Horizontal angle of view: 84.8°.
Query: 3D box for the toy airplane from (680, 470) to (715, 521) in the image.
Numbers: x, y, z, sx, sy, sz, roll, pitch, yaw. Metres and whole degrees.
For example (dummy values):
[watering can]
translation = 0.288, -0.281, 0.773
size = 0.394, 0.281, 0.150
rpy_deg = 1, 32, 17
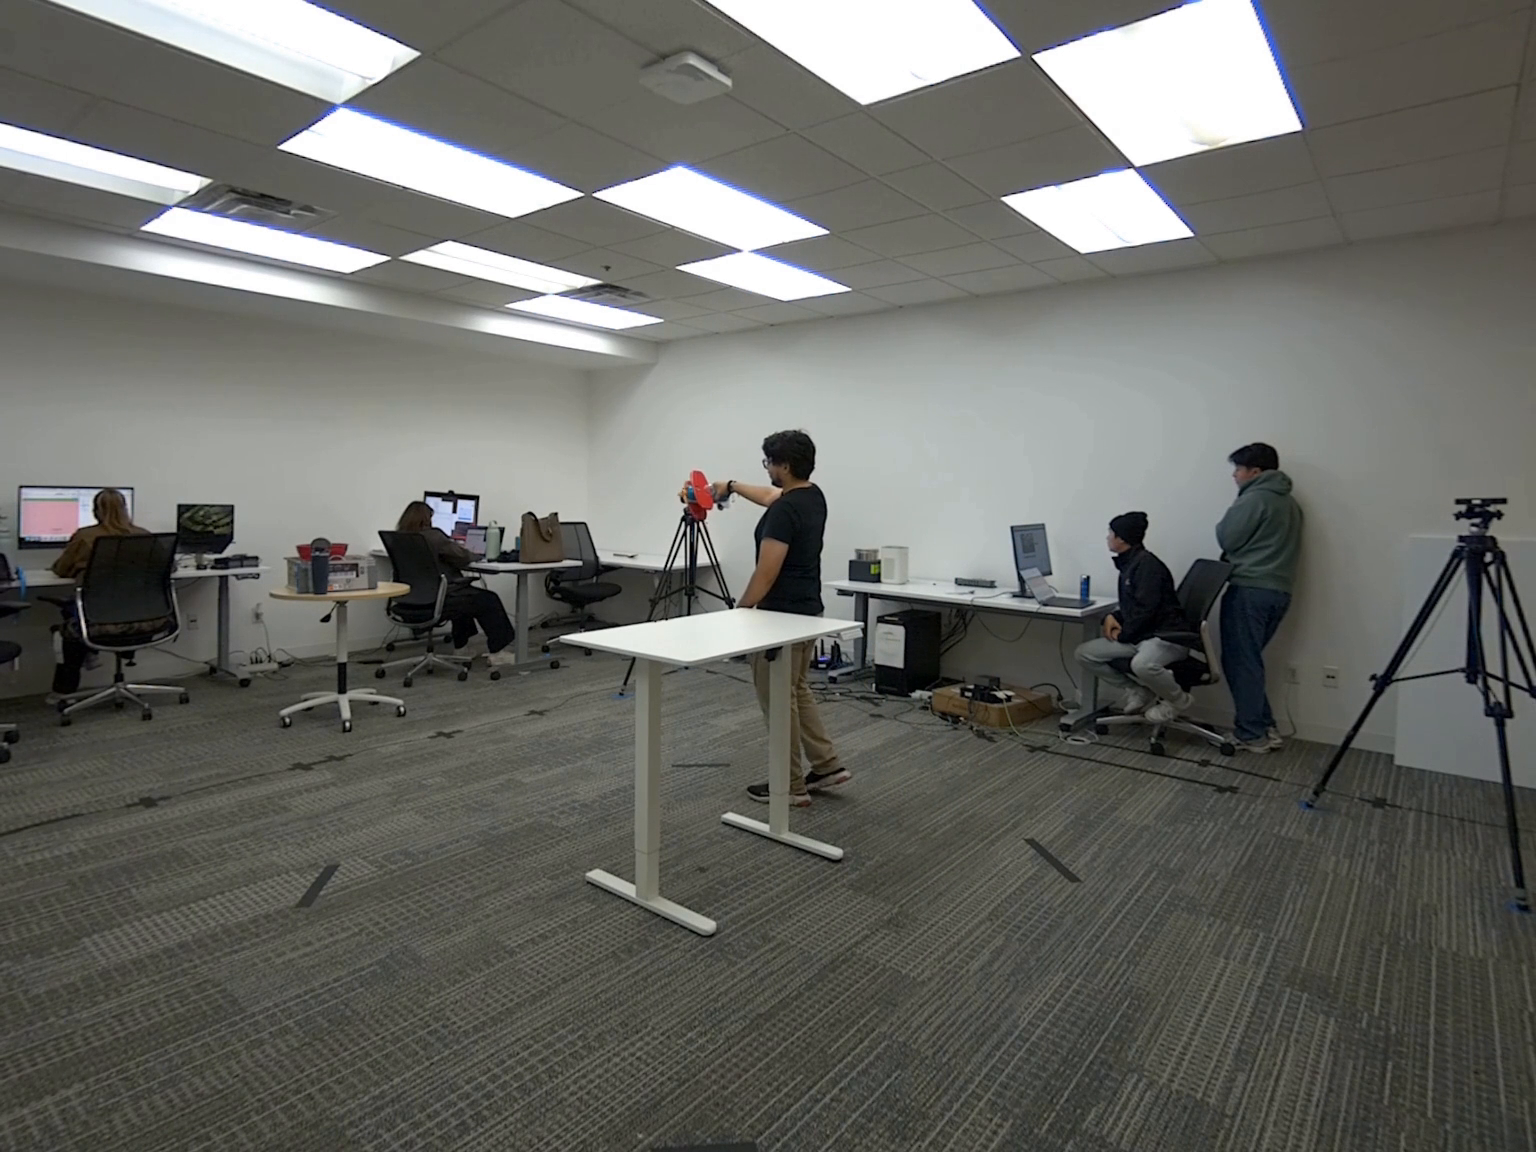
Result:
[toy airplane]
translation = -0.335, -0.415, 4.287
size = 0.256, 0.153, 0.258
rpy_deg = -32, 66, -32
